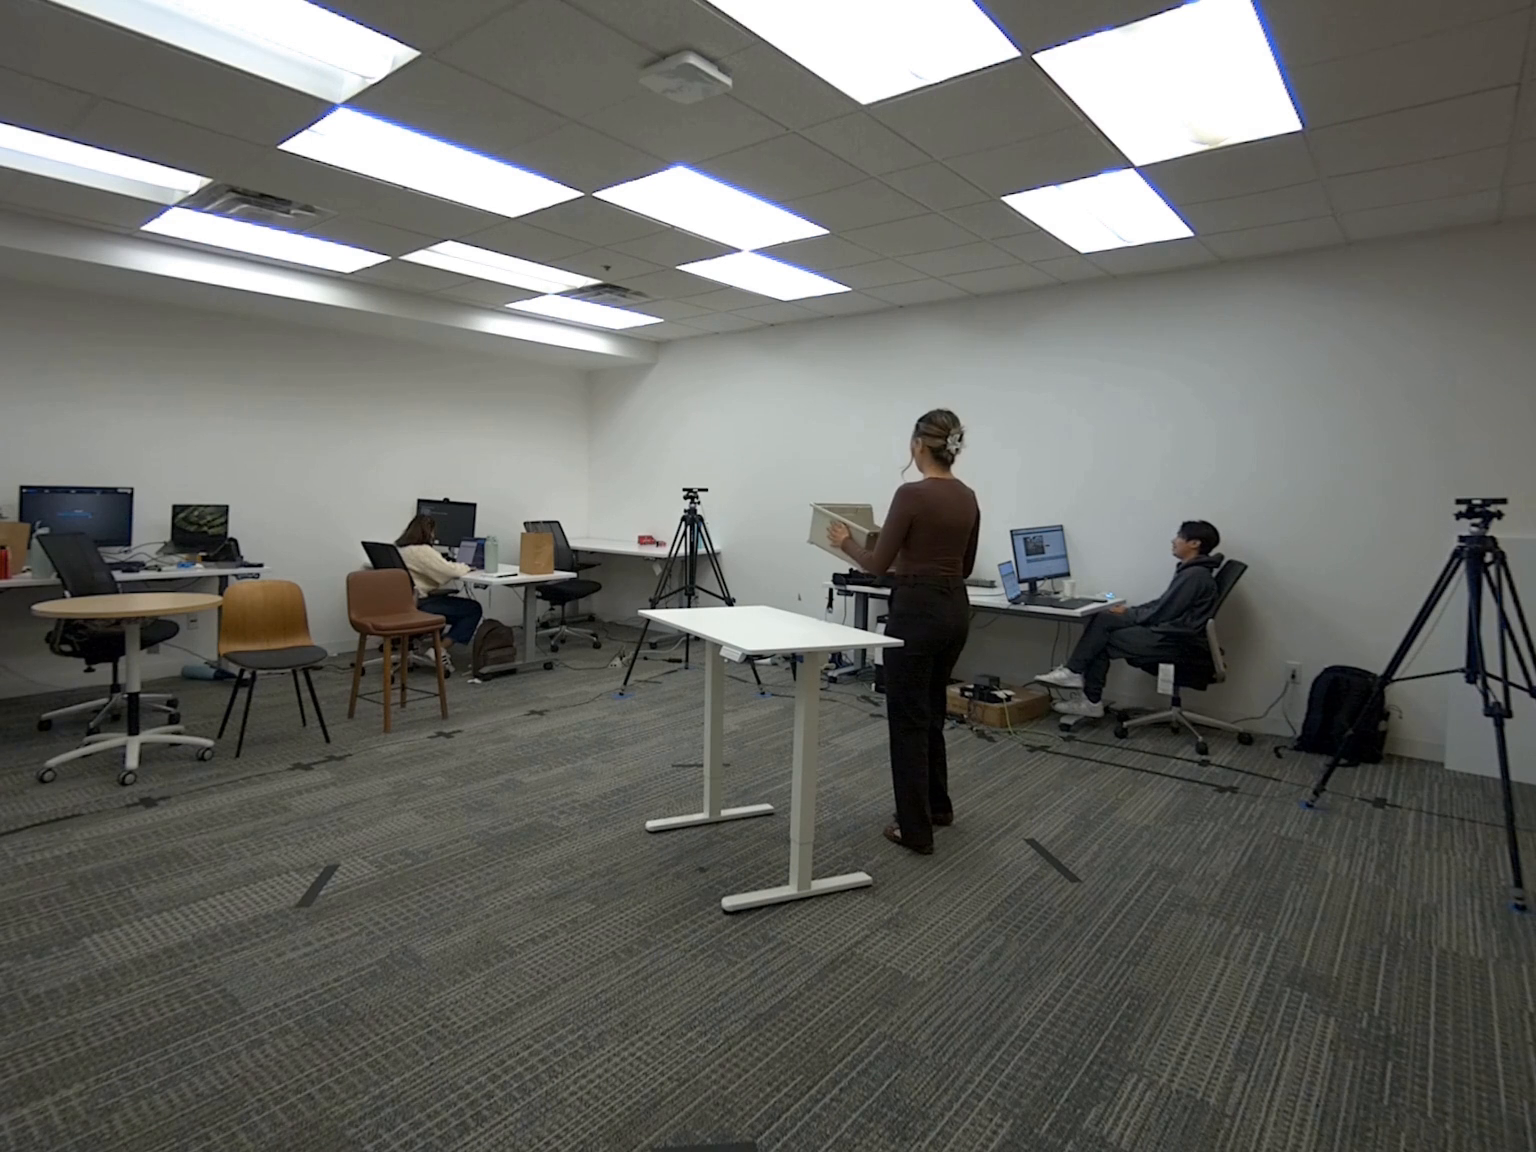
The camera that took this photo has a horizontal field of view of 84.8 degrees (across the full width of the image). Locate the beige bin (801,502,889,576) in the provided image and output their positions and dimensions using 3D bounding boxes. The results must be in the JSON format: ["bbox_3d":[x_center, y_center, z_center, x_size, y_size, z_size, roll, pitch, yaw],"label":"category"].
[{"bbox_3d":[0.430,-0.175,3.673,0.367,0.186,0.439,-3,21,-30],"label":"beige bin"}]
